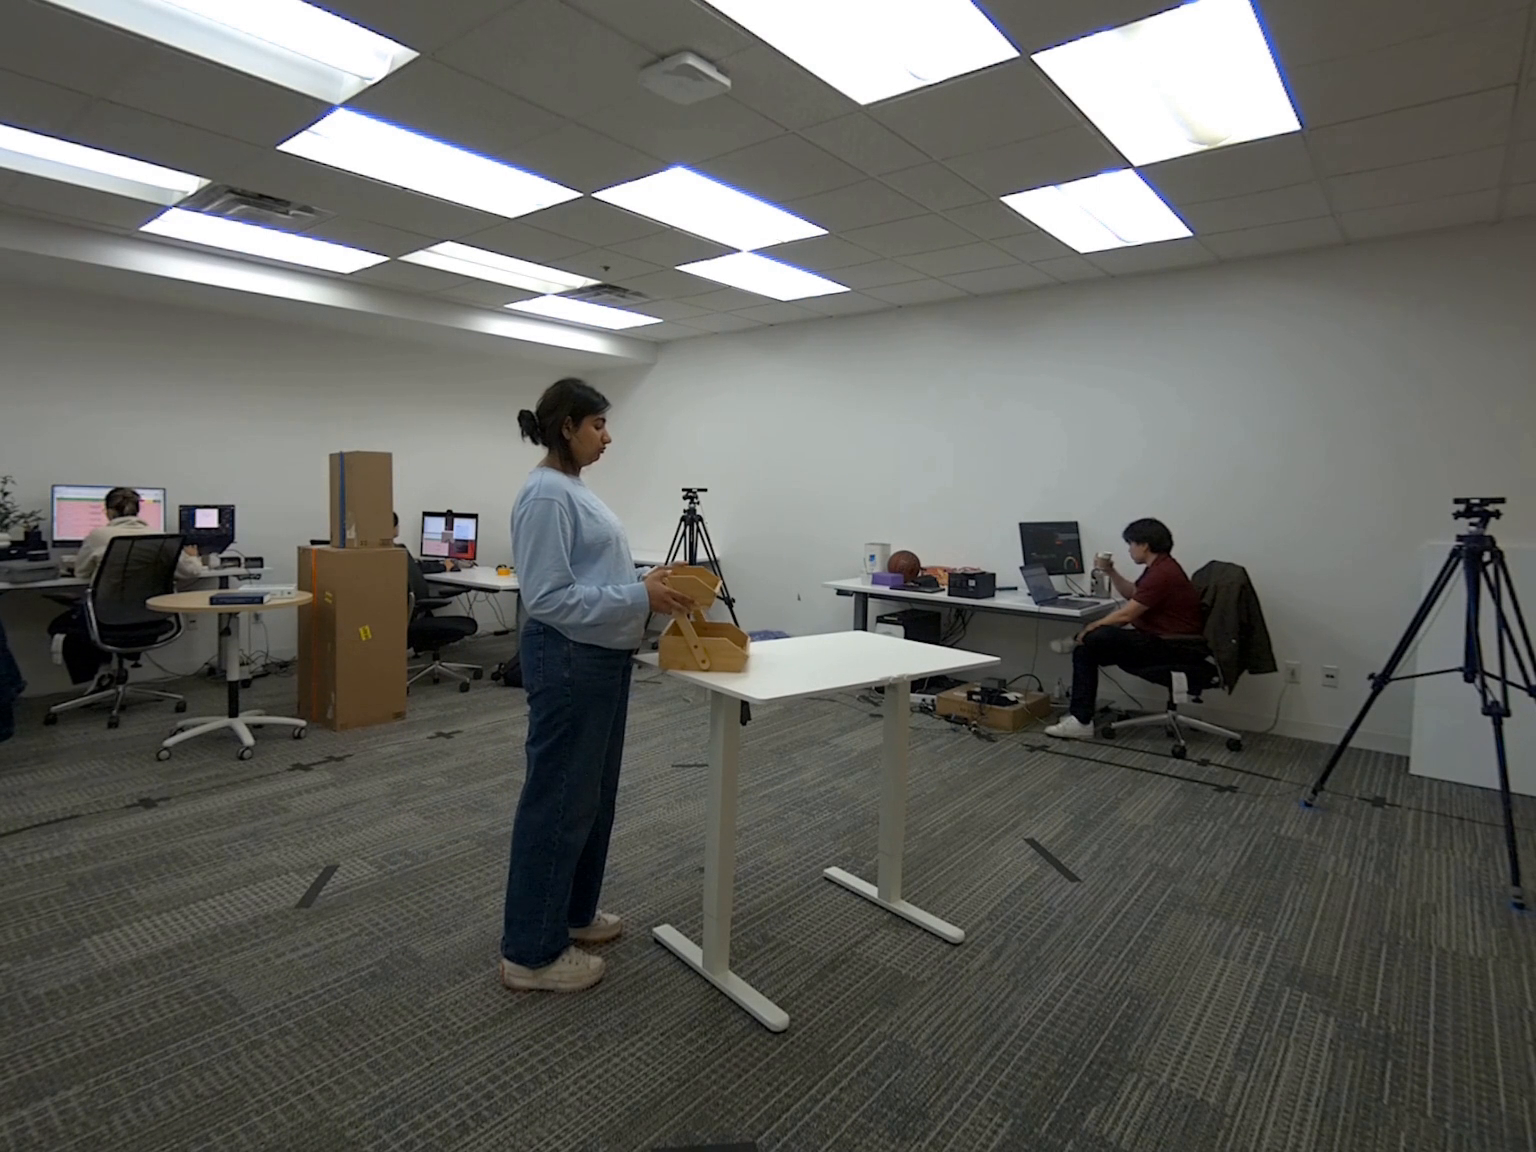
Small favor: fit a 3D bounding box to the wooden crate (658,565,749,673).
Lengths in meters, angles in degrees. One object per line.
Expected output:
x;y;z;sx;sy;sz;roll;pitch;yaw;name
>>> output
-0.211;0.113;2.486;0.303;0.272;0.325;0;5;2;wooden crate
